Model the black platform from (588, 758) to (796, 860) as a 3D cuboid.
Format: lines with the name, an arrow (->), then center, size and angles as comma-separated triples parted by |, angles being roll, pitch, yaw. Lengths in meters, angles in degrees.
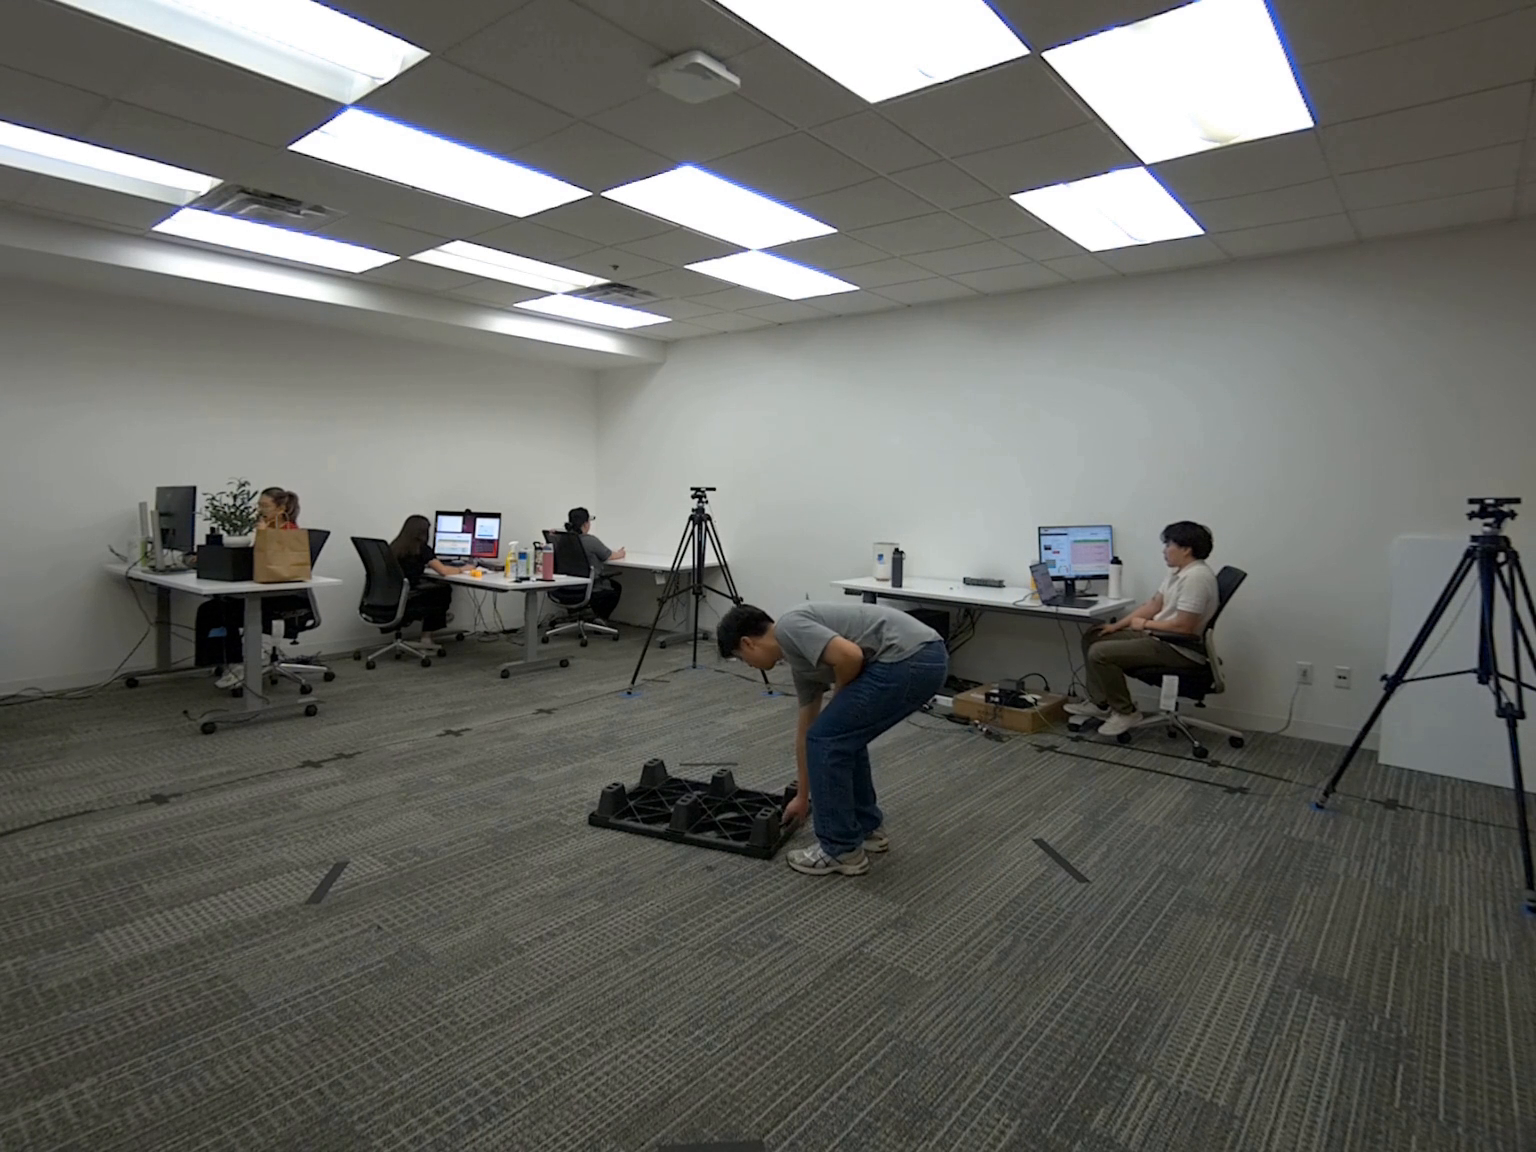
black platform -> -0.274, 0.948, 3.606 | 0.824, 0.143, 0.594 | 3, 7, 21
